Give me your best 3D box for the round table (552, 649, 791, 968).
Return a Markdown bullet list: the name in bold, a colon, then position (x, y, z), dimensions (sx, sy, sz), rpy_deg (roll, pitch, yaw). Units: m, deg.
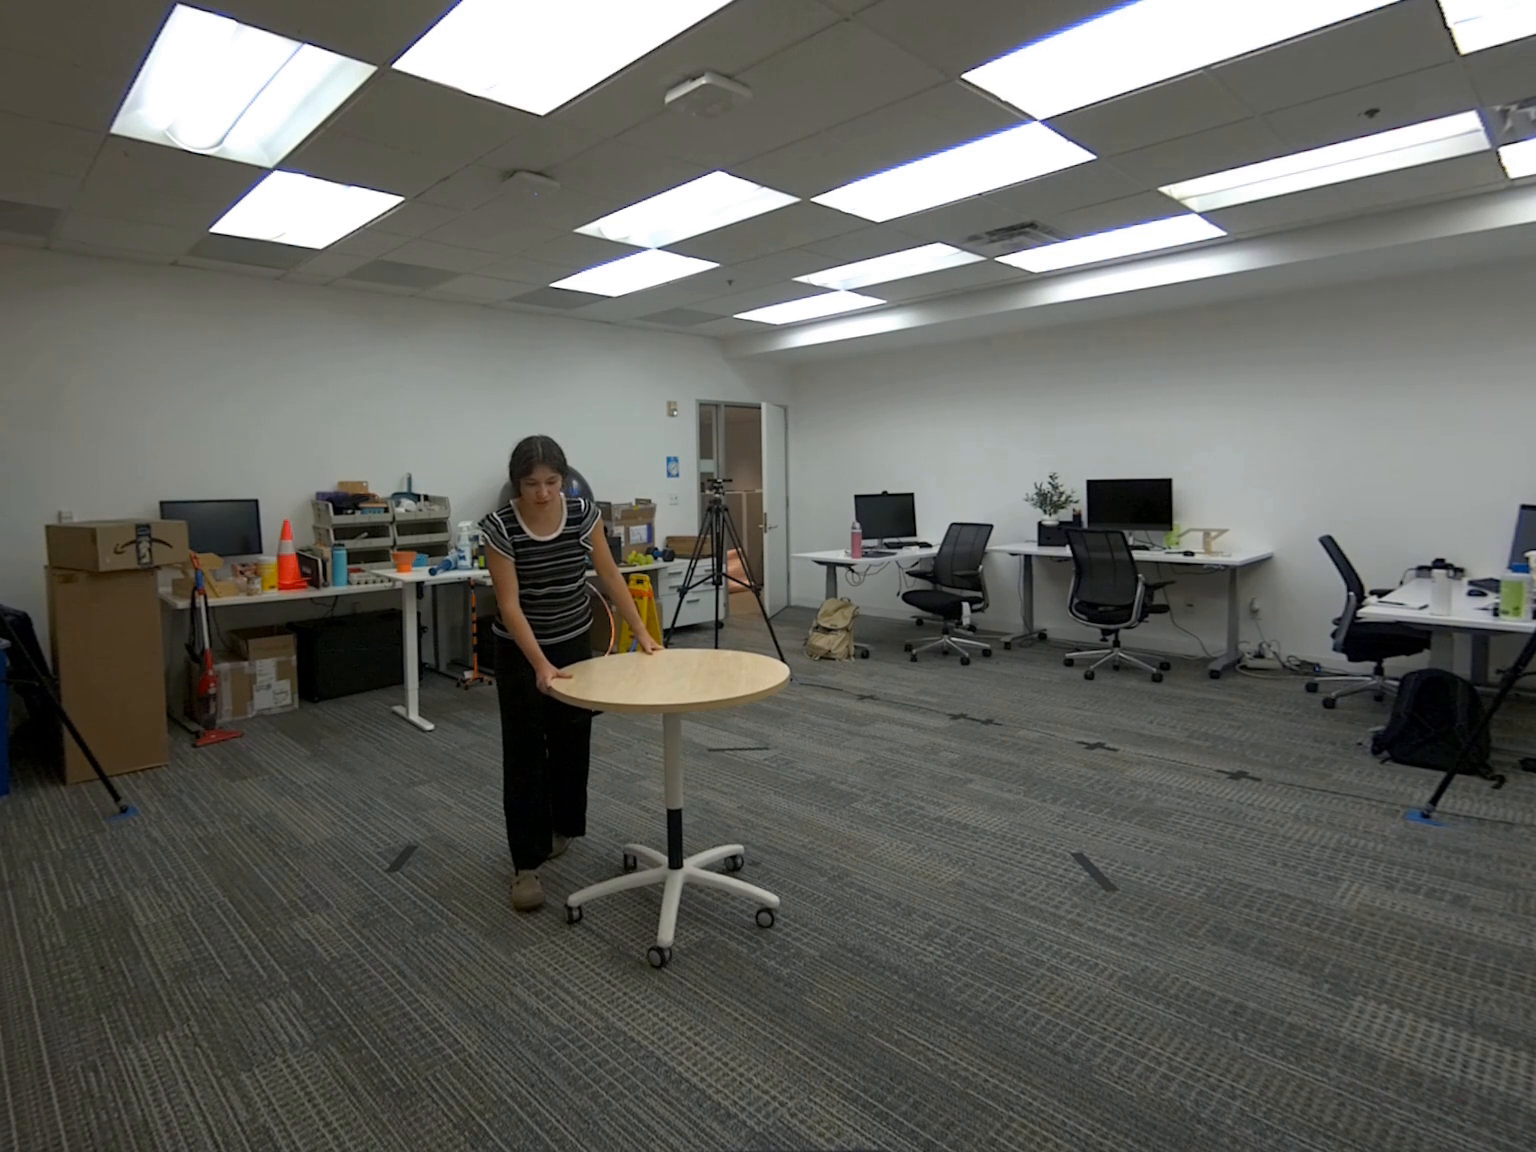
- **round table**: position (-0.298, 0.700, 2.766), dimensions (0.763, 0.790, 0.768), rpy_deg (-2, 5, -2)
